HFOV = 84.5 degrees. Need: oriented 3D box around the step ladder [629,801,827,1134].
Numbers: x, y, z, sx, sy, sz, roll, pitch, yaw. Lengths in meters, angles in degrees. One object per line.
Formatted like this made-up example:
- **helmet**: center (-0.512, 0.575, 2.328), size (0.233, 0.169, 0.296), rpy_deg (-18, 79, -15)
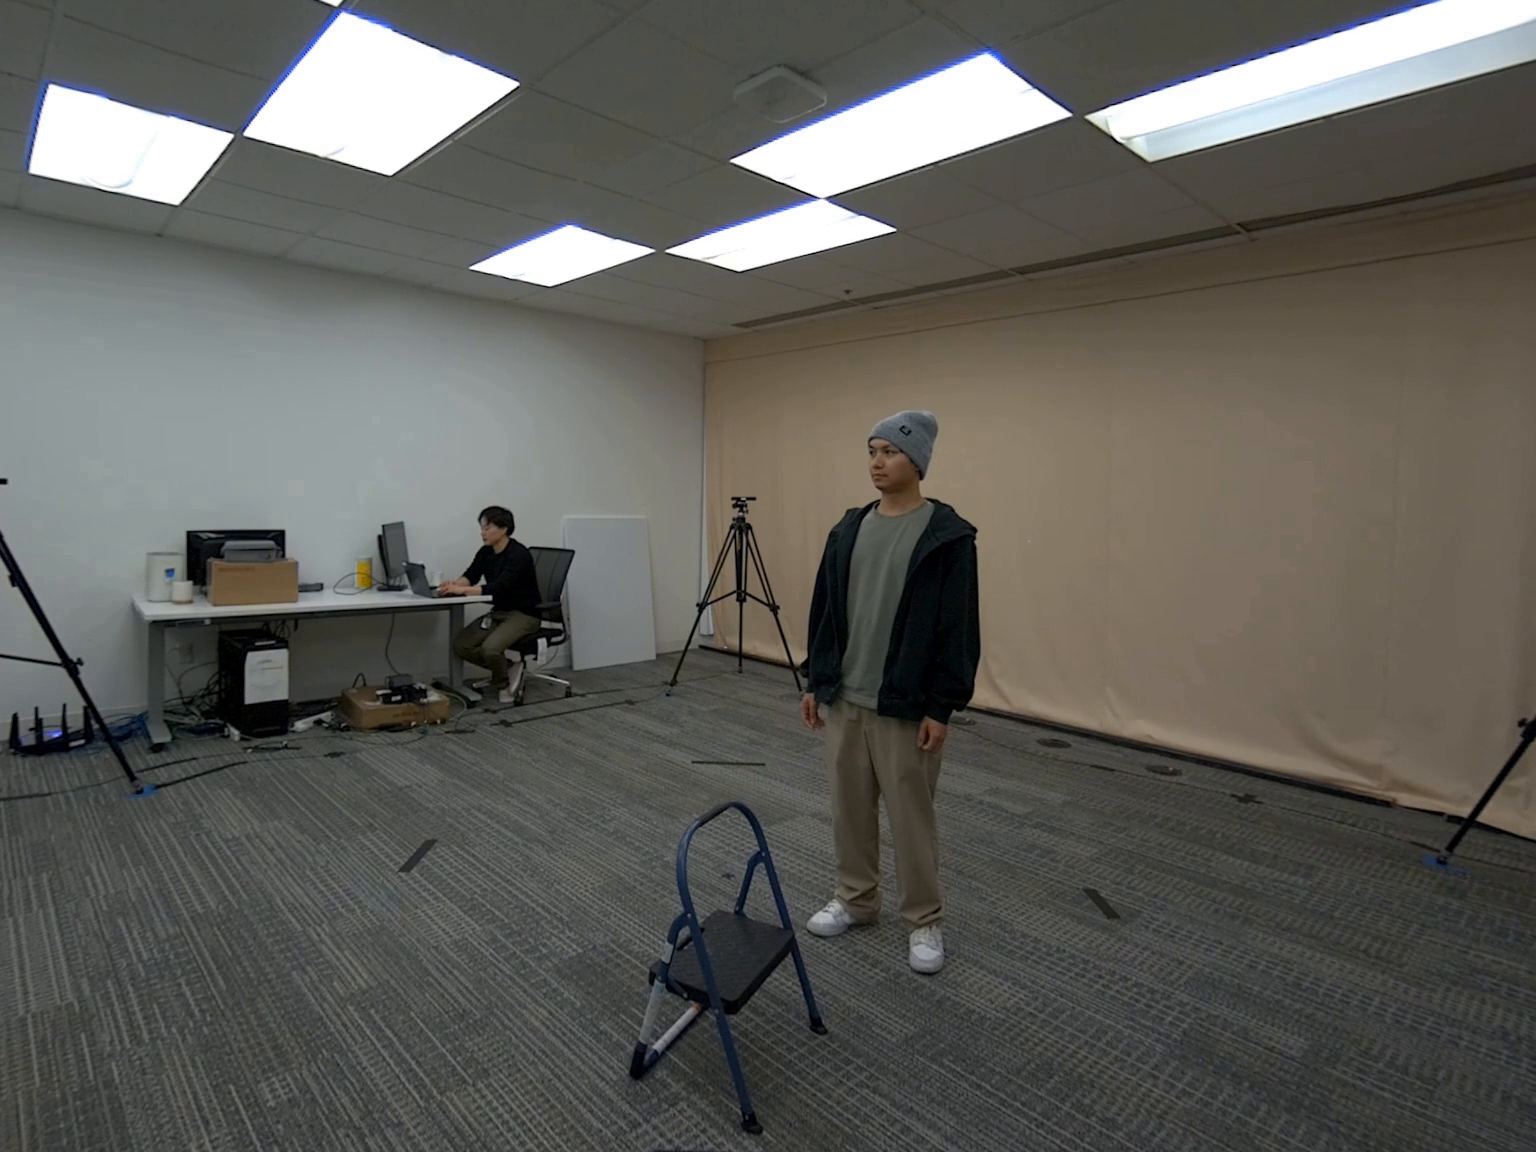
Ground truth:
- **step ladder**: center (-0.094, 0.904, 2.089), size (0.356, 0.604, 0.423), rpy_deg (4, 4, 25)
